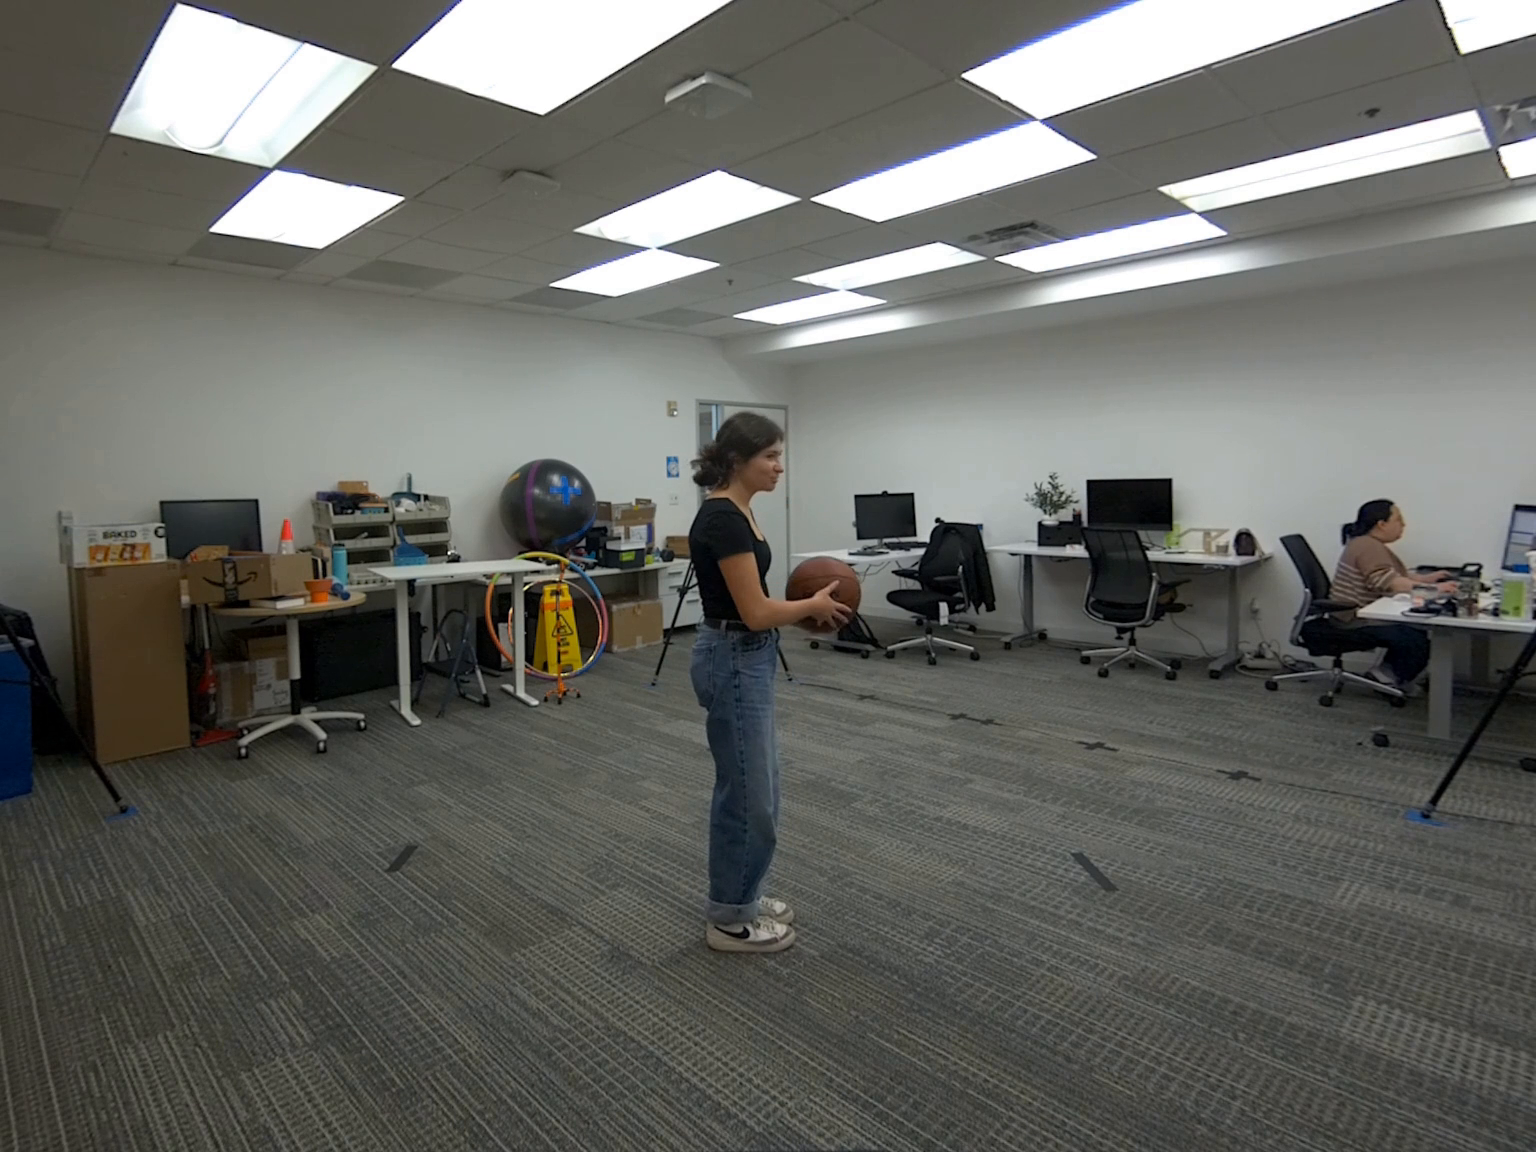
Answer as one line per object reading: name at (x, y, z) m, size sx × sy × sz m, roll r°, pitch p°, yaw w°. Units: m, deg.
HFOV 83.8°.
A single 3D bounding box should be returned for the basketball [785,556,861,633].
basketball at (0.175, 0.058, 2.702) m, size 0.236 × 0.235 × 0.237 m, roll -1°, pitch 5°, yaw -2°
